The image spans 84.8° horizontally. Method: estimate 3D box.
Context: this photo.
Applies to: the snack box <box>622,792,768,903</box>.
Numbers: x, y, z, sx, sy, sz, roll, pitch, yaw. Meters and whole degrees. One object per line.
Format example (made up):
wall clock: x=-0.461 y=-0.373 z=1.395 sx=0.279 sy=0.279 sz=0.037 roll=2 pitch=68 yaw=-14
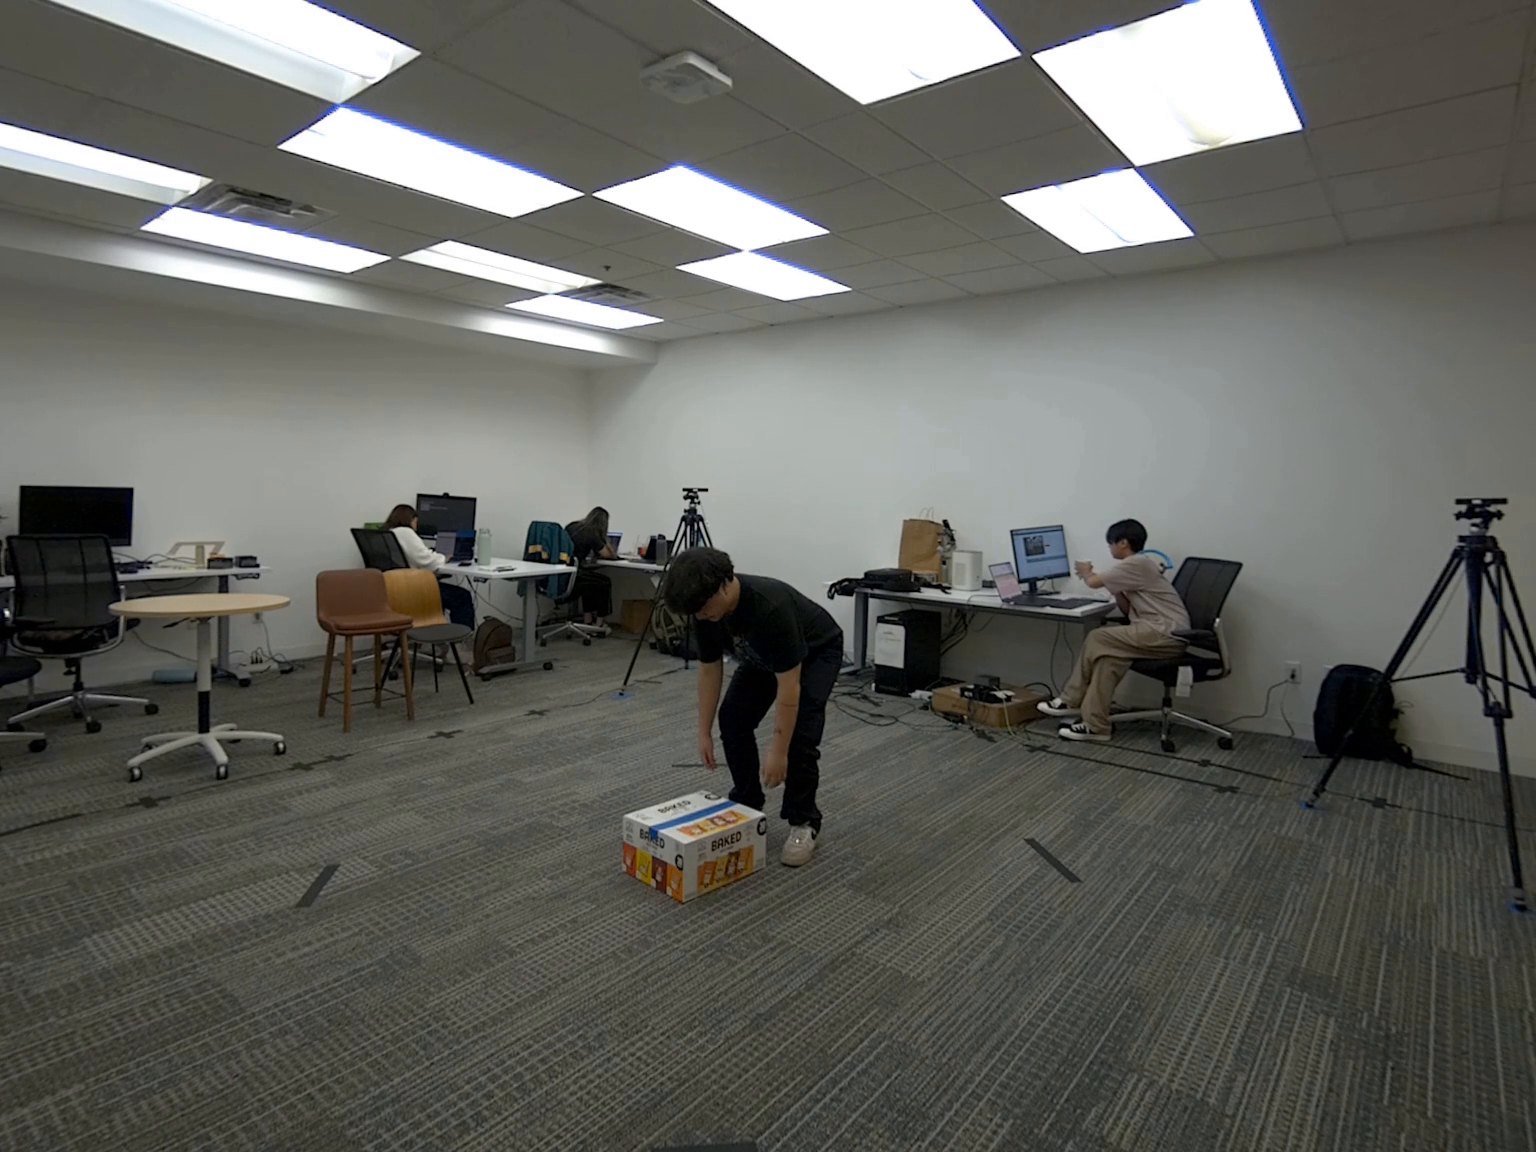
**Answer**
snack box: x=-0.275 y=0.968 z=3.097 sx=0.352 sy=0.205 sz=0.393 roll=6 pitch=7 yaw=44
